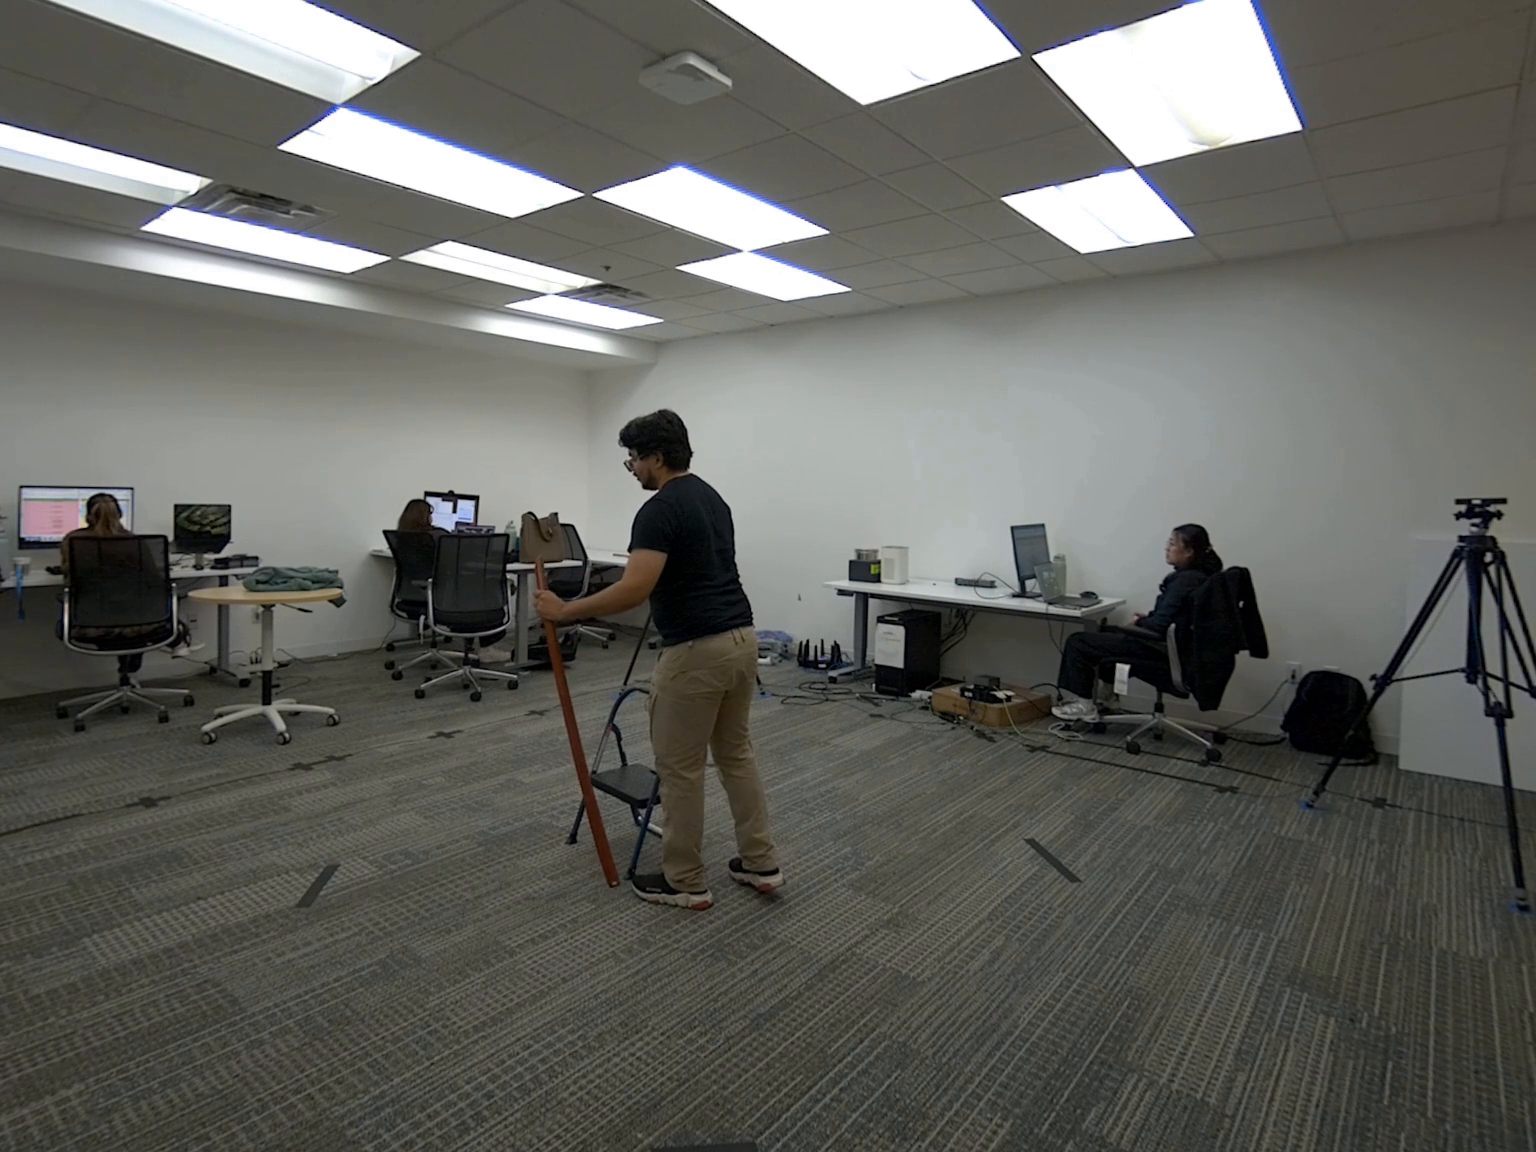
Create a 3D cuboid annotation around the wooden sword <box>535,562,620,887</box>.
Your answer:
[{"bbox_3d":[-0.603,0.434,2.597,0.052,1.046,0.023,-27,-19,29],"label":"wooden sword"}]
